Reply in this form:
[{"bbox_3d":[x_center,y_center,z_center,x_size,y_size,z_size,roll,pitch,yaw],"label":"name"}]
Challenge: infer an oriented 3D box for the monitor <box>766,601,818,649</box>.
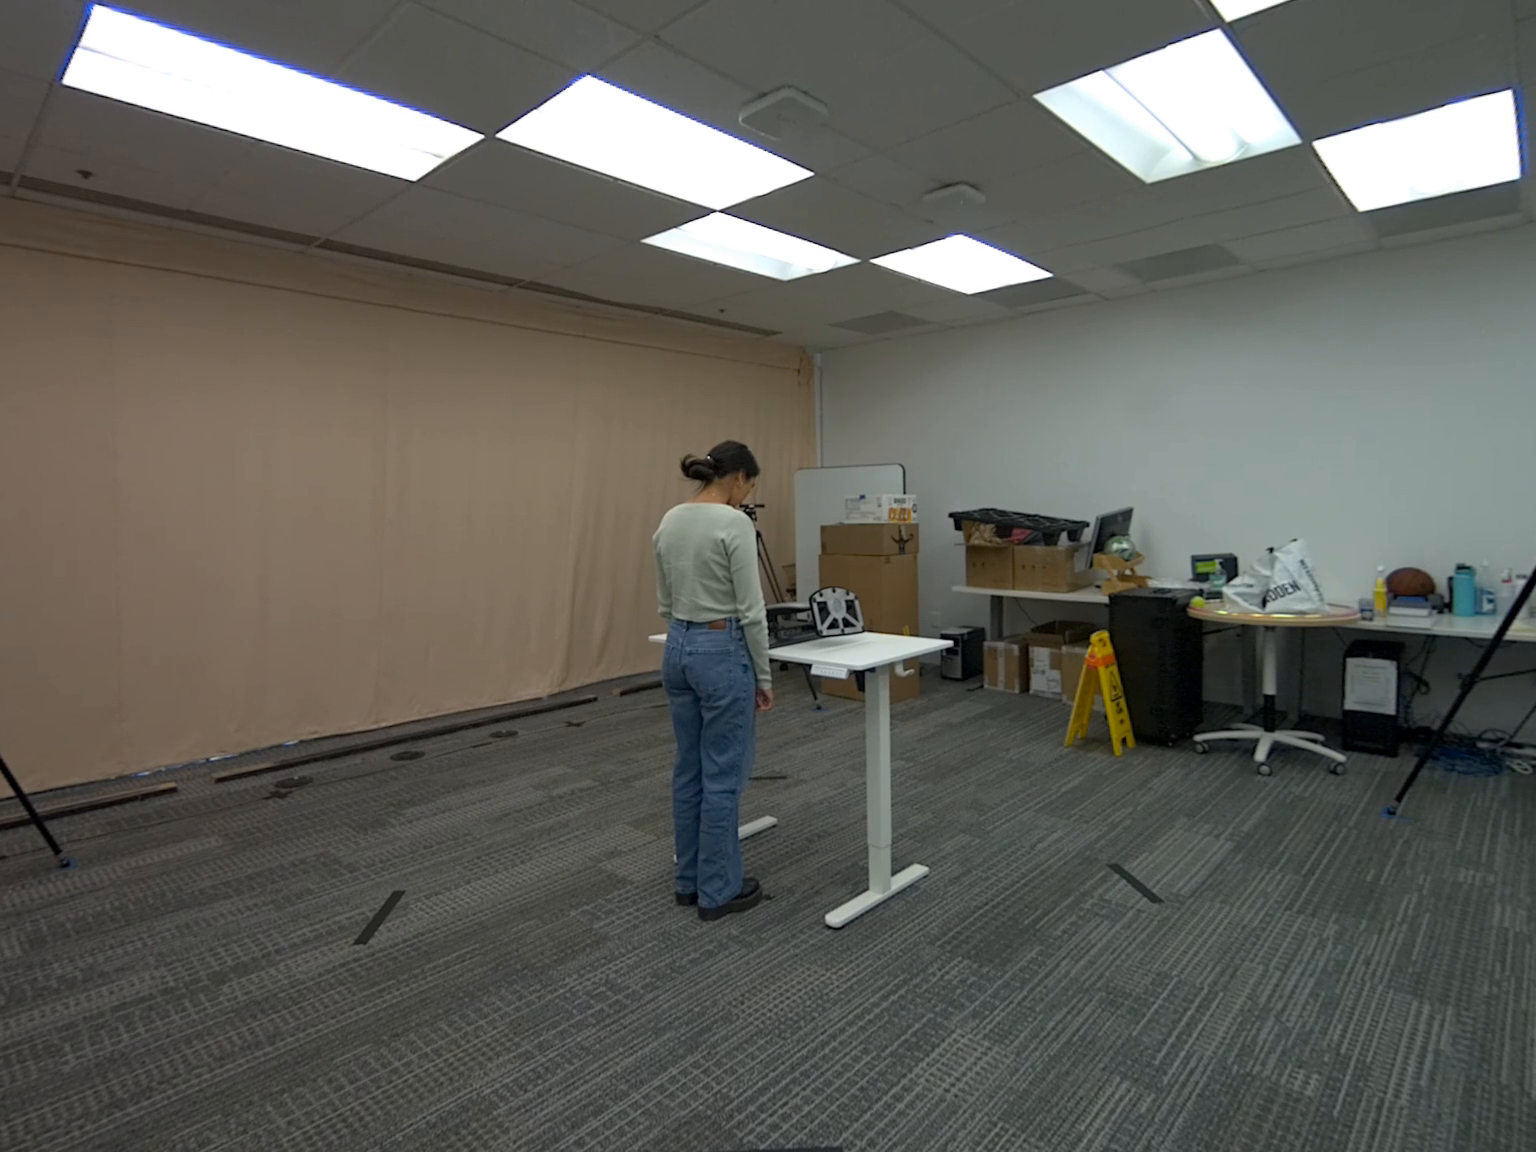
[{"bbox_3d":[0.070,0.181,3.171,0.536,0.188,0.522,-15,-10,42],"label":"monitor"}]
